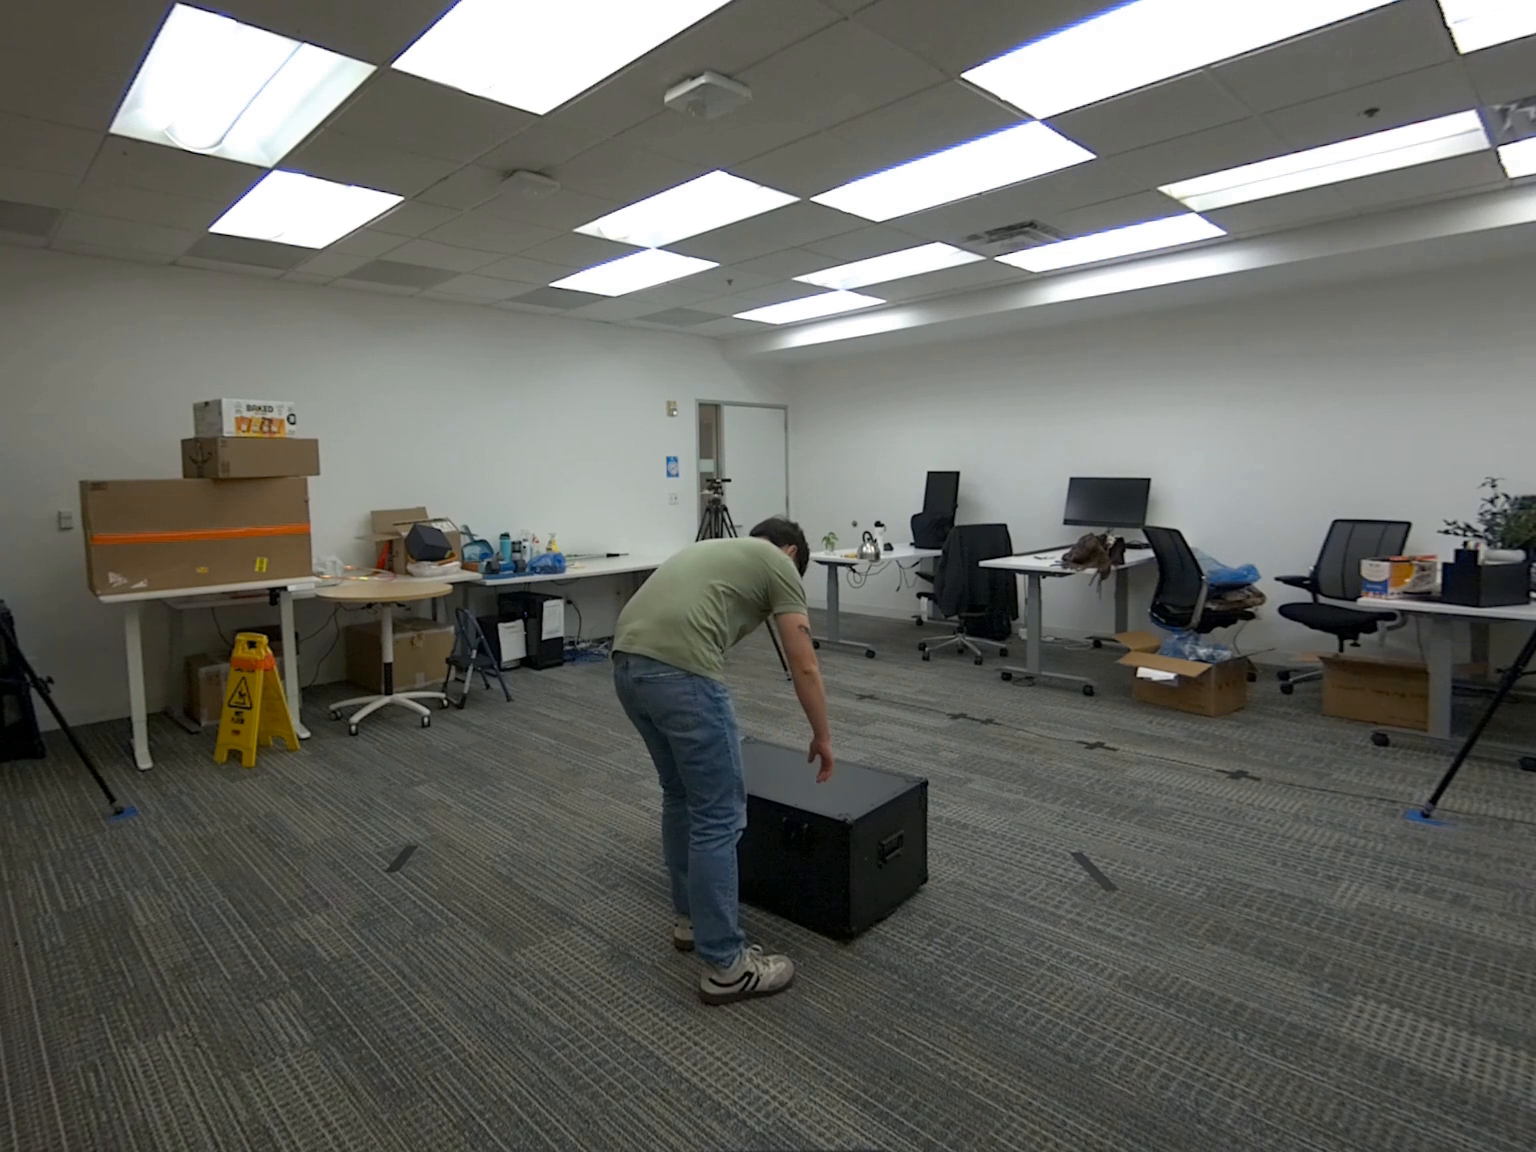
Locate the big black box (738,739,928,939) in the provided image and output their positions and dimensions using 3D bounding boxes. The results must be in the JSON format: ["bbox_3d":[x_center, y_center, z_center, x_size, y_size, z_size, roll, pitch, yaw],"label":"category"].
[{"bbox_3d":[0.064,0.865,2.986,0.888,0.394,0.508,5,8,40],"label":"big black box"}]
